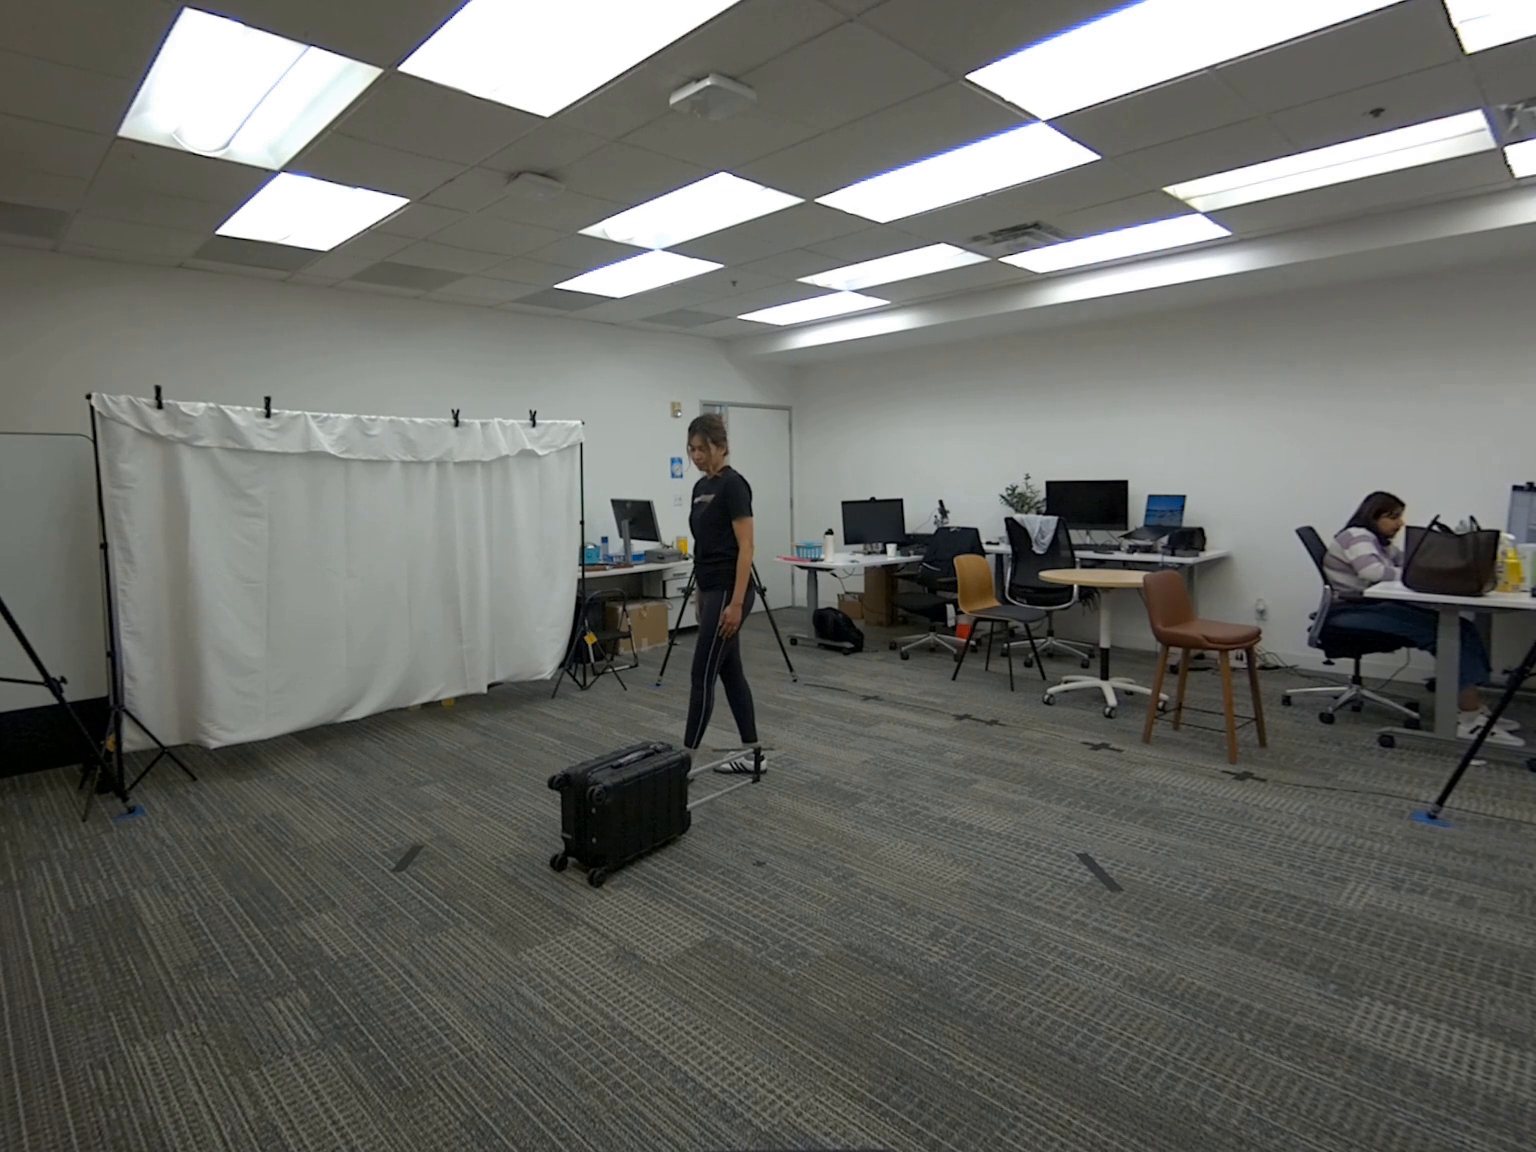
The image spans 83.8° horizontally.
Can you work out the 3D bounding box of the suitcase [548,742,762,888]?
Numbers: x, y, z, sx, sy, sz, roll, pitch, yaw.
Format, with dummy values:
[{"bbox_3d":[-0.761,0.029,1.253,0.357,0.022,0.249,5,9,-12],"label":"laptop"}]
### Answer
[{"bbox_3d":[-0.417,0.838,3.376,0.264,0.382,0.955,2,6,35],"label":"suitcase"}]
